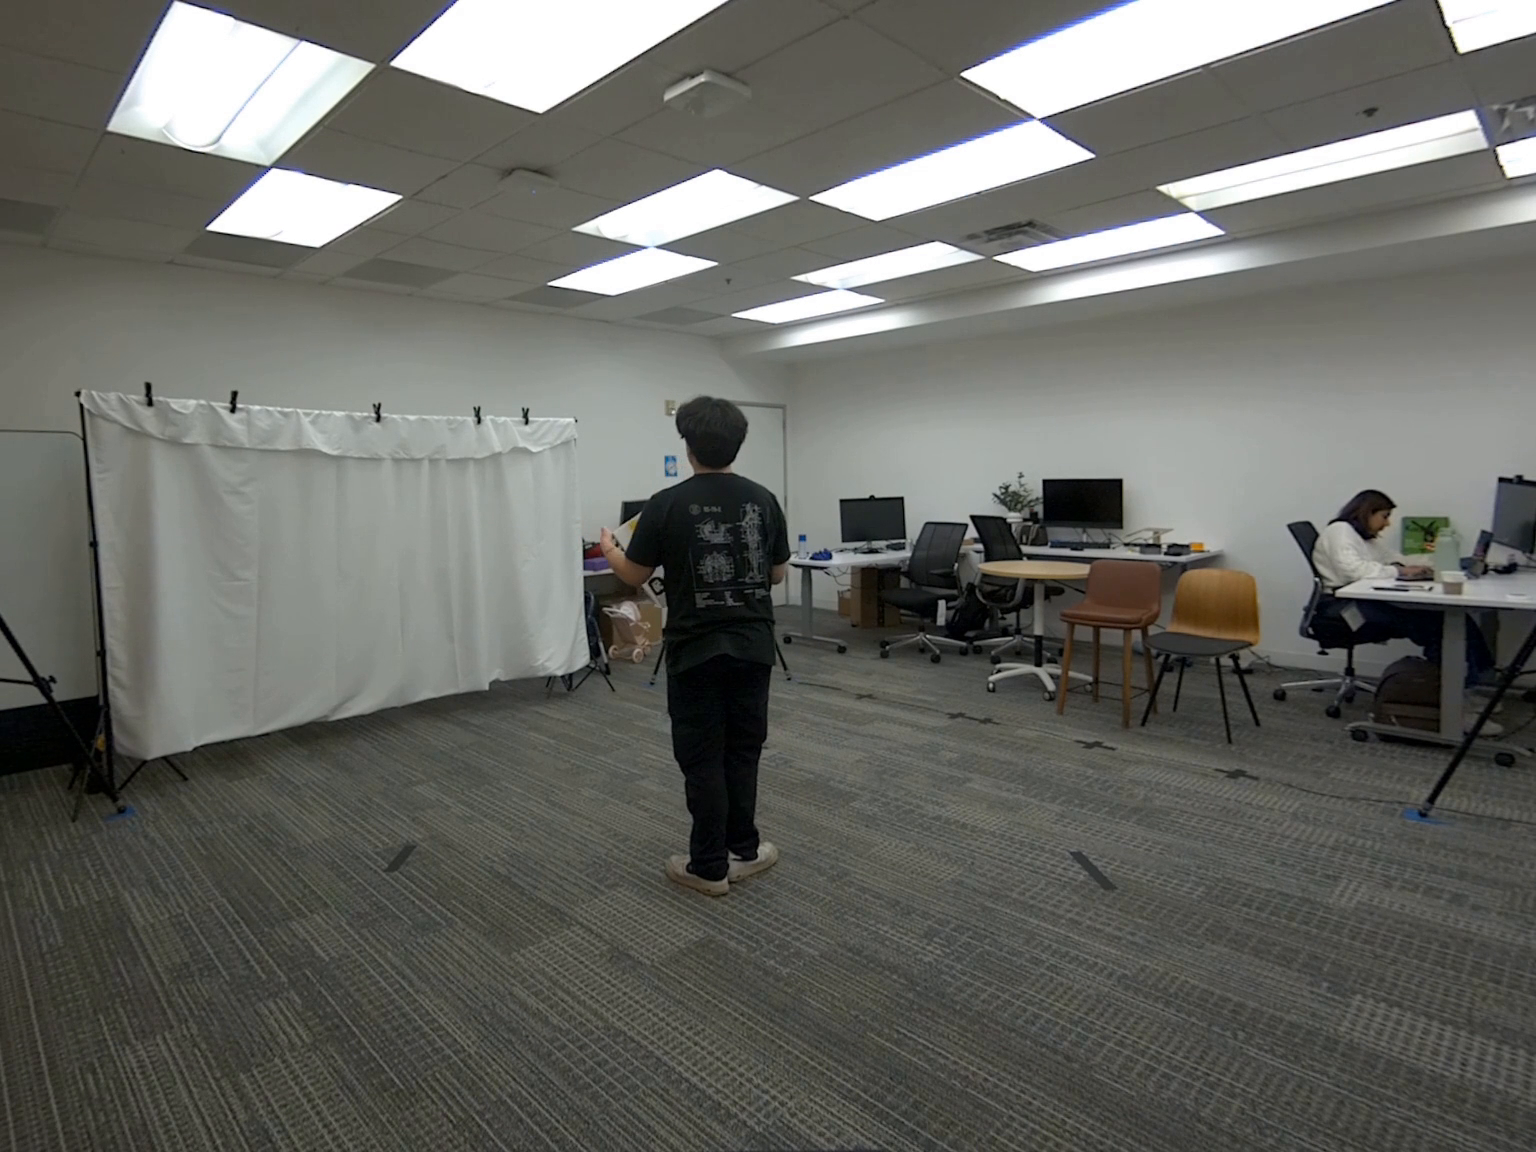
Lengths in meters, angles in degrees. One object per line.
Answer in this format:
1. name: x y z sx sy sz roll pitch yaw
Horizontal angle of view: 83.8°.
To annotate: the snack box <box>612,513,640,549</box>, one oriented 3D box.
1. snack box: -0.357 -0.128 3.302 0.404 0.338 0.208 -37 6 -13
